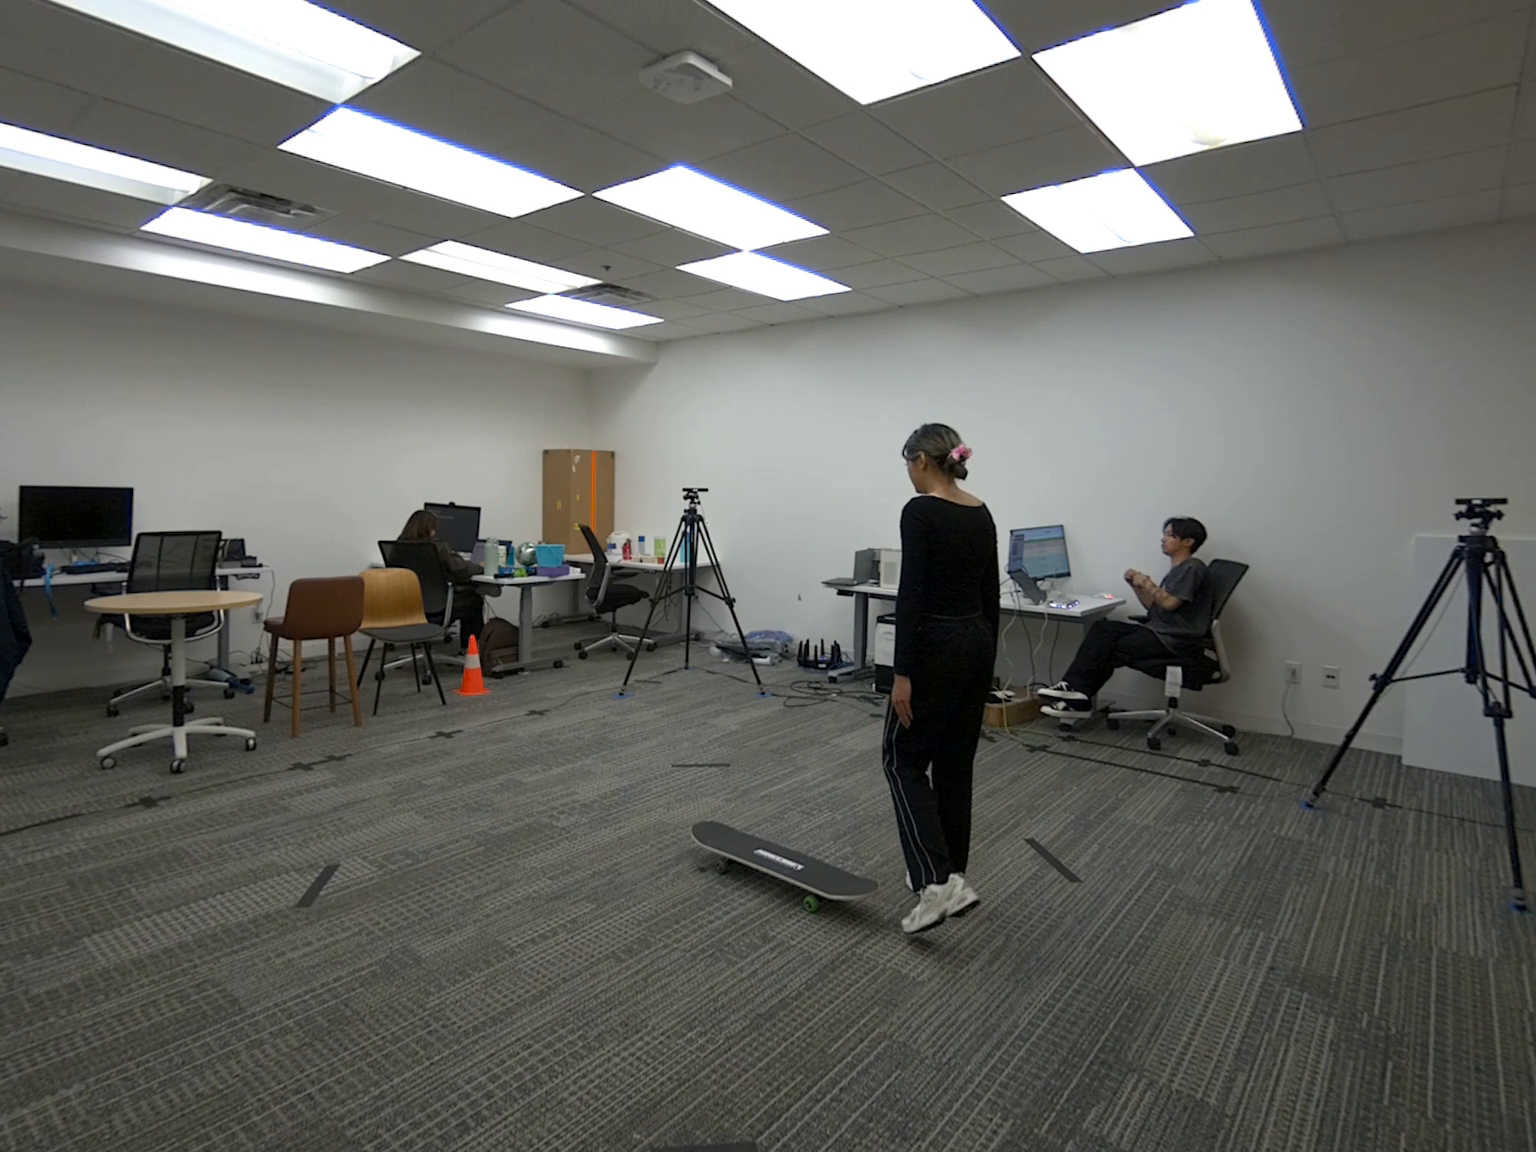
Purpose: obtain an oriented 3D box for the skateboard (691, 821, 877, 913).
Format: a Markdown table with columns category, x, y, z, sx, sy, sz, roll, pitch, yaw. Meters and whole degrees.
| category | x | y | z | sx | sy | sz | roll | pitch | yaw |
| --- | --- | --- | --- | --- | --- | --- | --- | --- | --- |
| skateboard | 0.029 | 1.031 | 2.999 | 0.812 | 0.110 | 0.188 | 6 | 7 | 40 |
